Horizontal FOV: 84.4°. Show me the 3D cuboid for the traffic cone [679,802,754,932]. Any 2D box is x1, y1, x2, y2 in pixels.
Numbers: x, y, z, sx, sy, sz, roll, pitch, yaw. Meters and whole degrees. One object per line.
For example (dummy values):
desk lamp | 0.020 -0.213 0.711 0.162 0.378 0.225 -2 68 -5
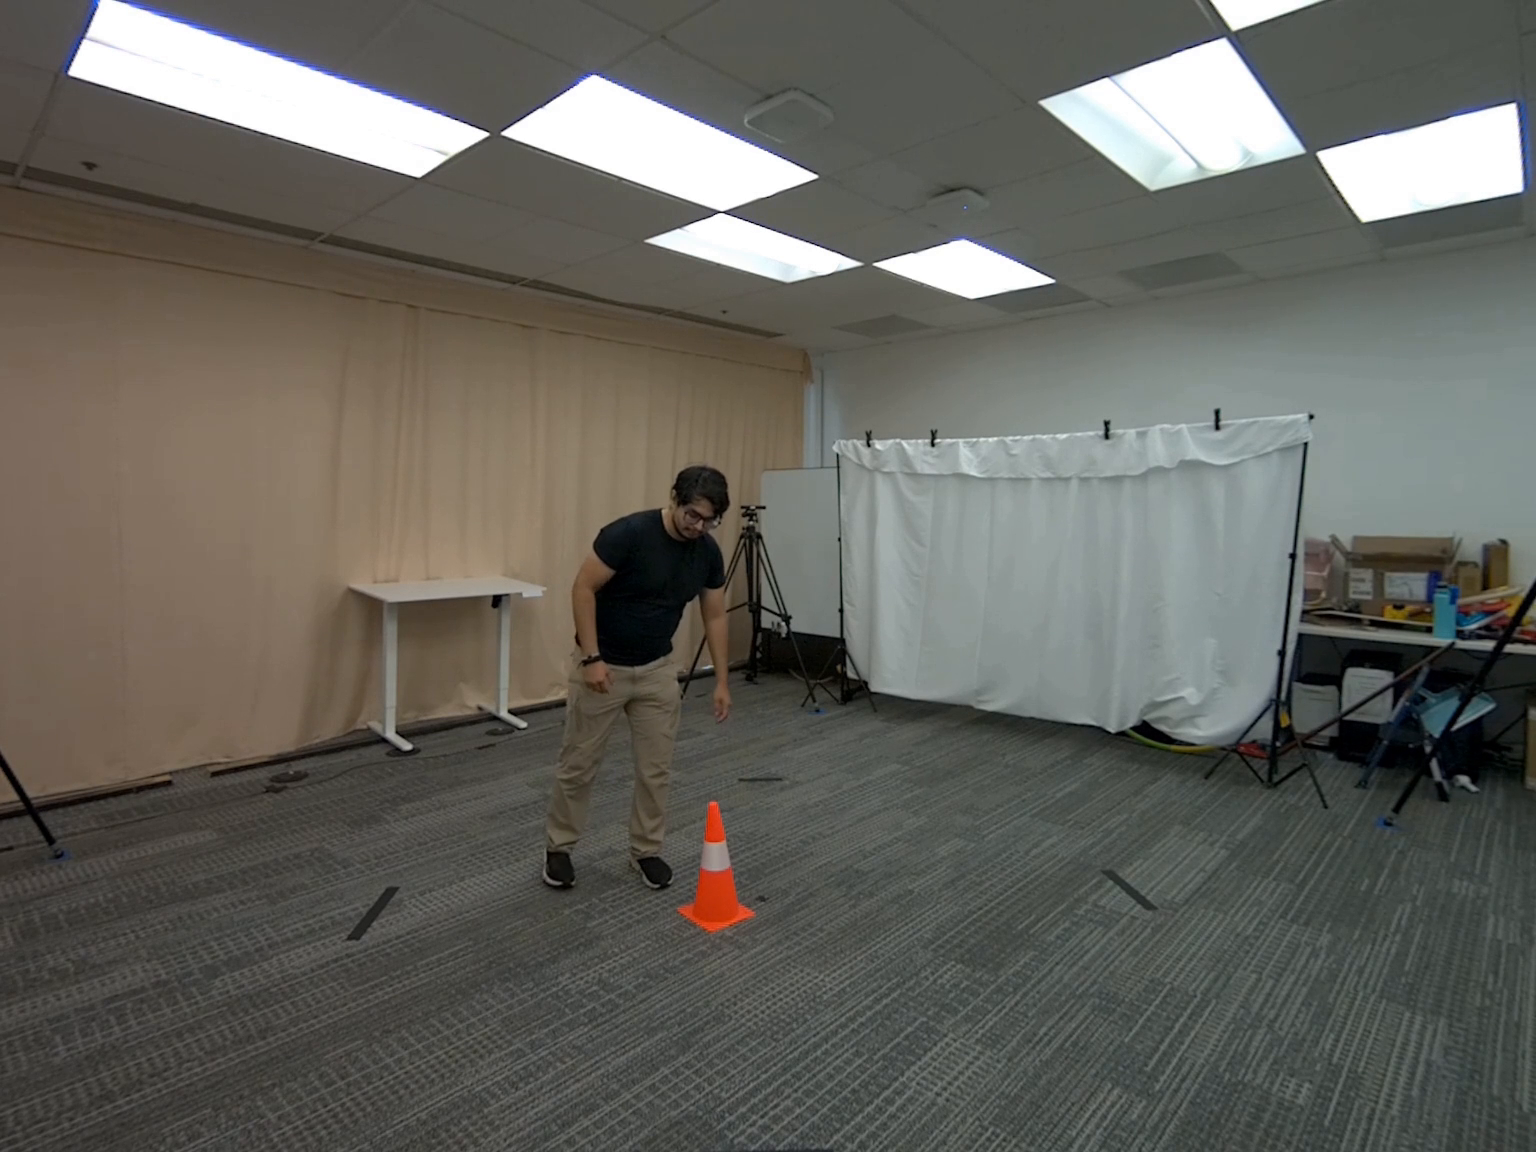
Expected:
traffic cone | -0.179 0.968 2.875 0.197 0.383 0.211 -3 3 -38
